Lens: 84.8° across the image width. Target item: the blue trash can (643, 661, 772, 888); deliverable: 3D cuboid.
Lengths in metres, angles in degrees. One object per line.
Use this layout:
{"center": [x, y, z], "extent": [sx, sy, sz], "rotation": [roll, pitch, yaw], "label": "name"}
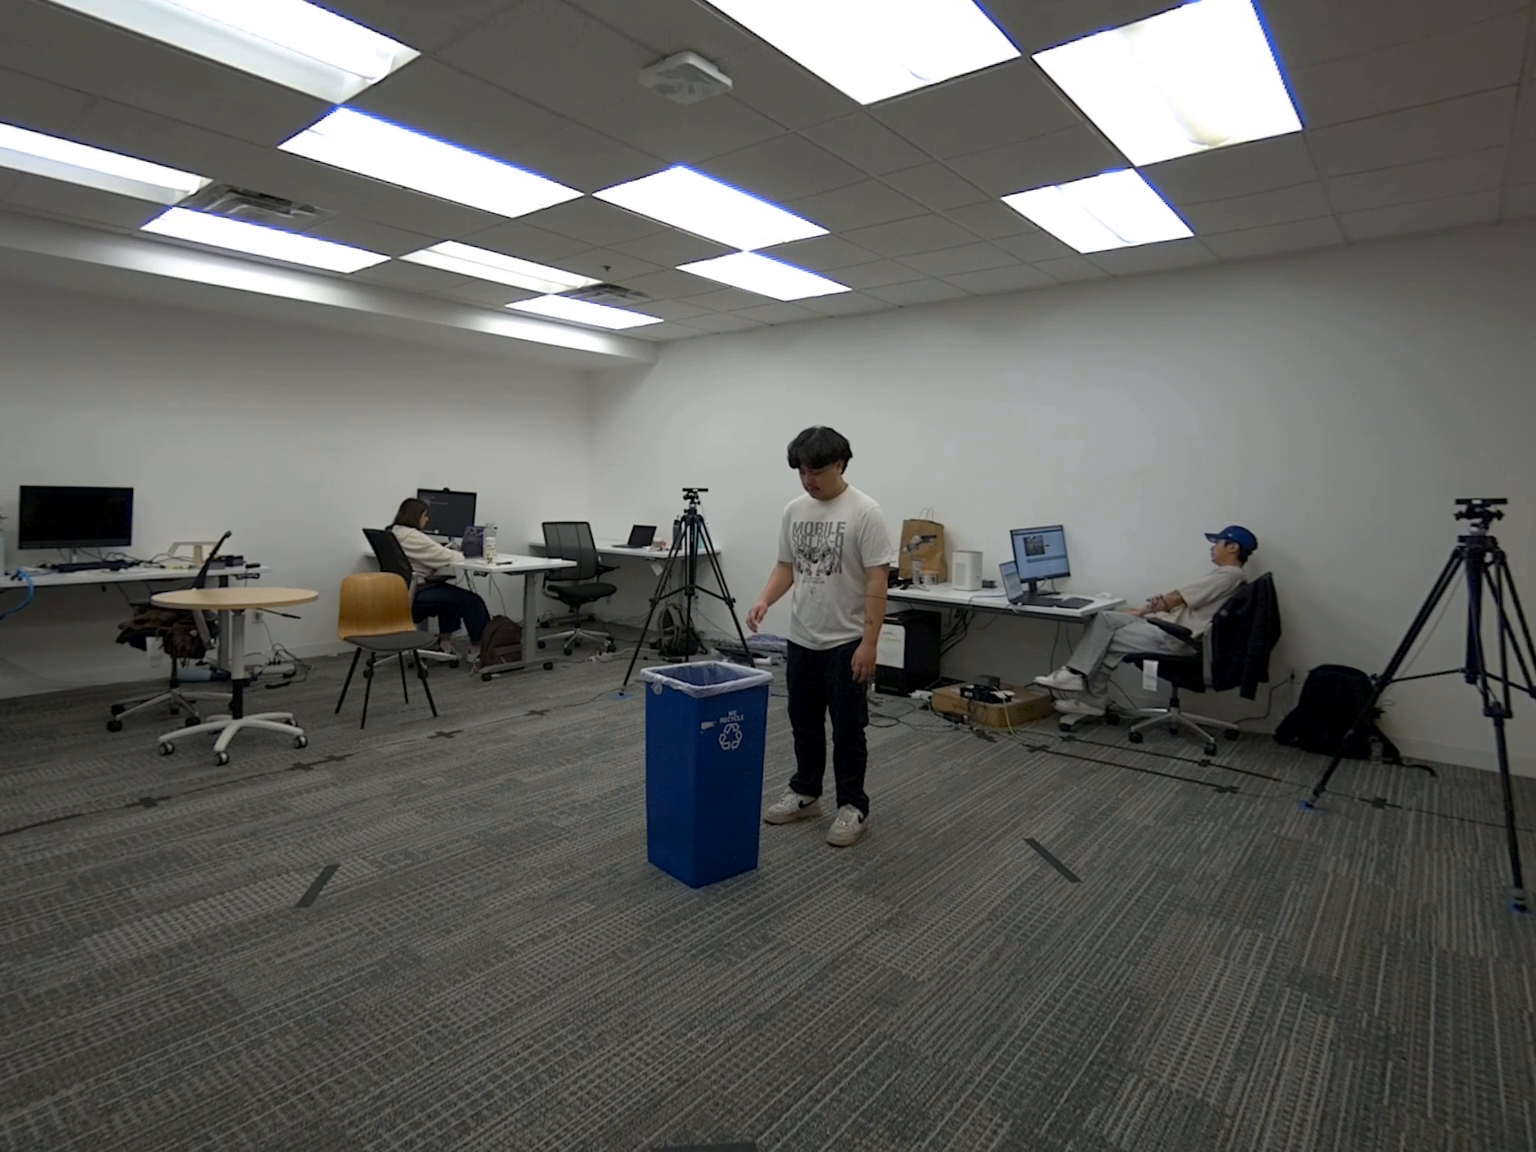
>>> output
{"center": [-0.241, 0.707, 3.145], "extent": [0.363, 0.711, 0.391], "rotation": [-2, 4, -41], "label": "blue trash can"}
